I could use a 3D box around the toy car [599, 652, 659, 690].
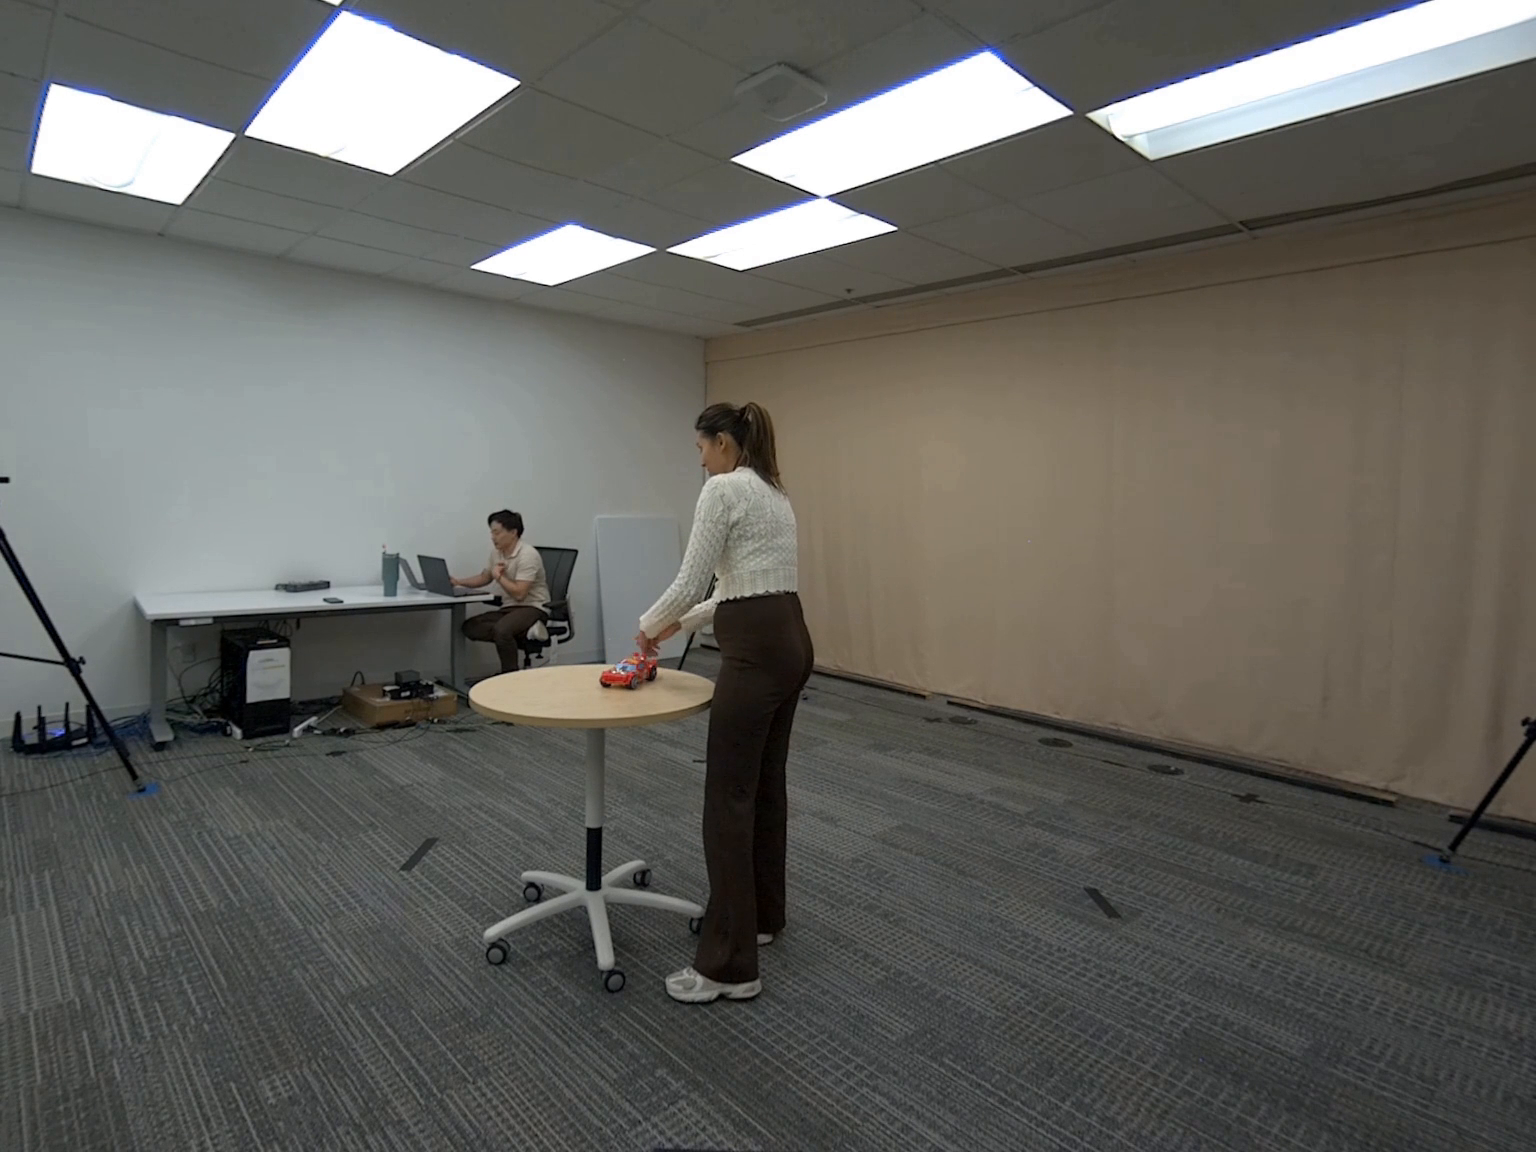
[{"bbox_3d":[-0.450,0.315,2.737,0.132,0.082,0.254,2,15,16],"label":"toy car"}]
